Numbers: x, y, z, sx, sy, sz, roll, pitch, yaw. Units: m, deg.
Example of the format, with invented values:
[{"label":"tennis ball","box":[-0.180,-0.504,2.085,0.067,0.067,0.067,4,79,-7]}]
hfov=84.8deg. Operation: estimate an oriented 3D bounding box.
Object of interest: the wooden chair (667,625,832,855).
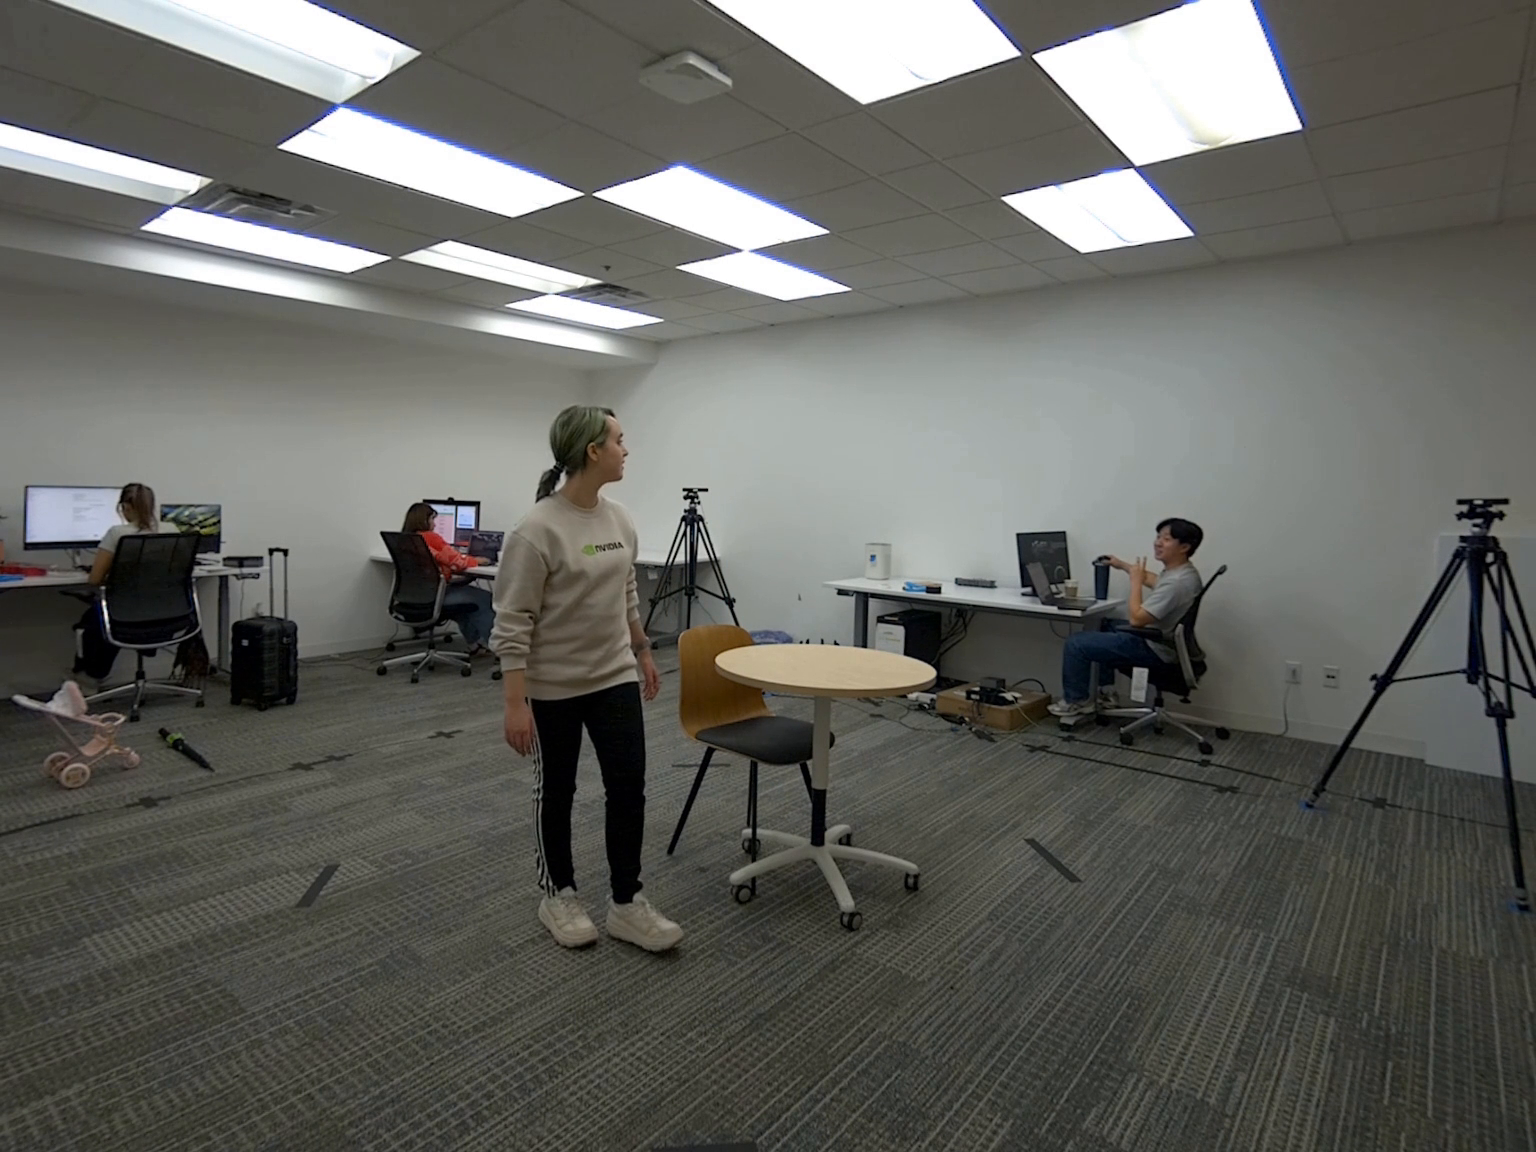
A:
[{"label":"wooden chair","box":[-0.061,0.636,3.192,0.539,0.878,0.463,-1,0,45]}]
